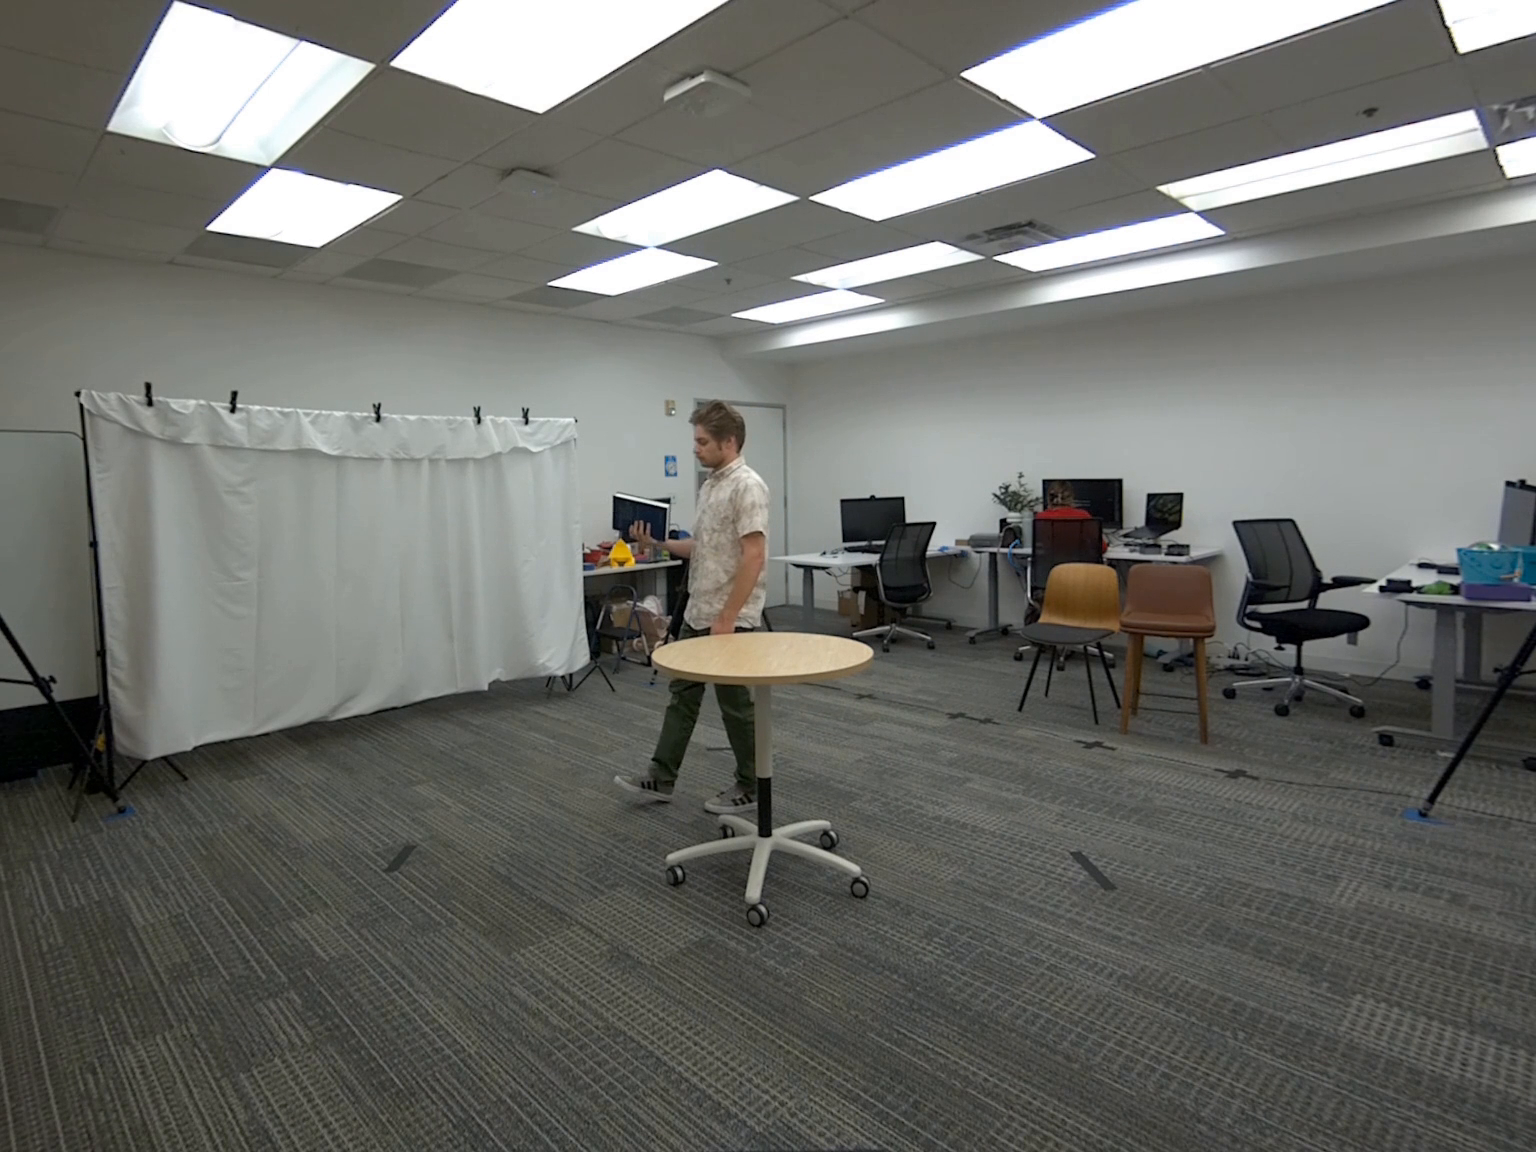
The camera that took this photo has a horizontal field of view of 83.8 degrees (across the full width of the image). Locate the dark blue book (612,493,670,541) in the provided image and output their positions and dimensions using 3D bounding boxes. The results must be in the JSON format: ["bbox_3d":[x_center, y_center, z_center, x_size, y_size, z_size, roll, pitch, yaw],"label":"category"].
[{"bbox_3d":[-0.531,-0.251,3.575,0.248,0.160,0.045,13,28,11],"label":"dark blue book"}]
